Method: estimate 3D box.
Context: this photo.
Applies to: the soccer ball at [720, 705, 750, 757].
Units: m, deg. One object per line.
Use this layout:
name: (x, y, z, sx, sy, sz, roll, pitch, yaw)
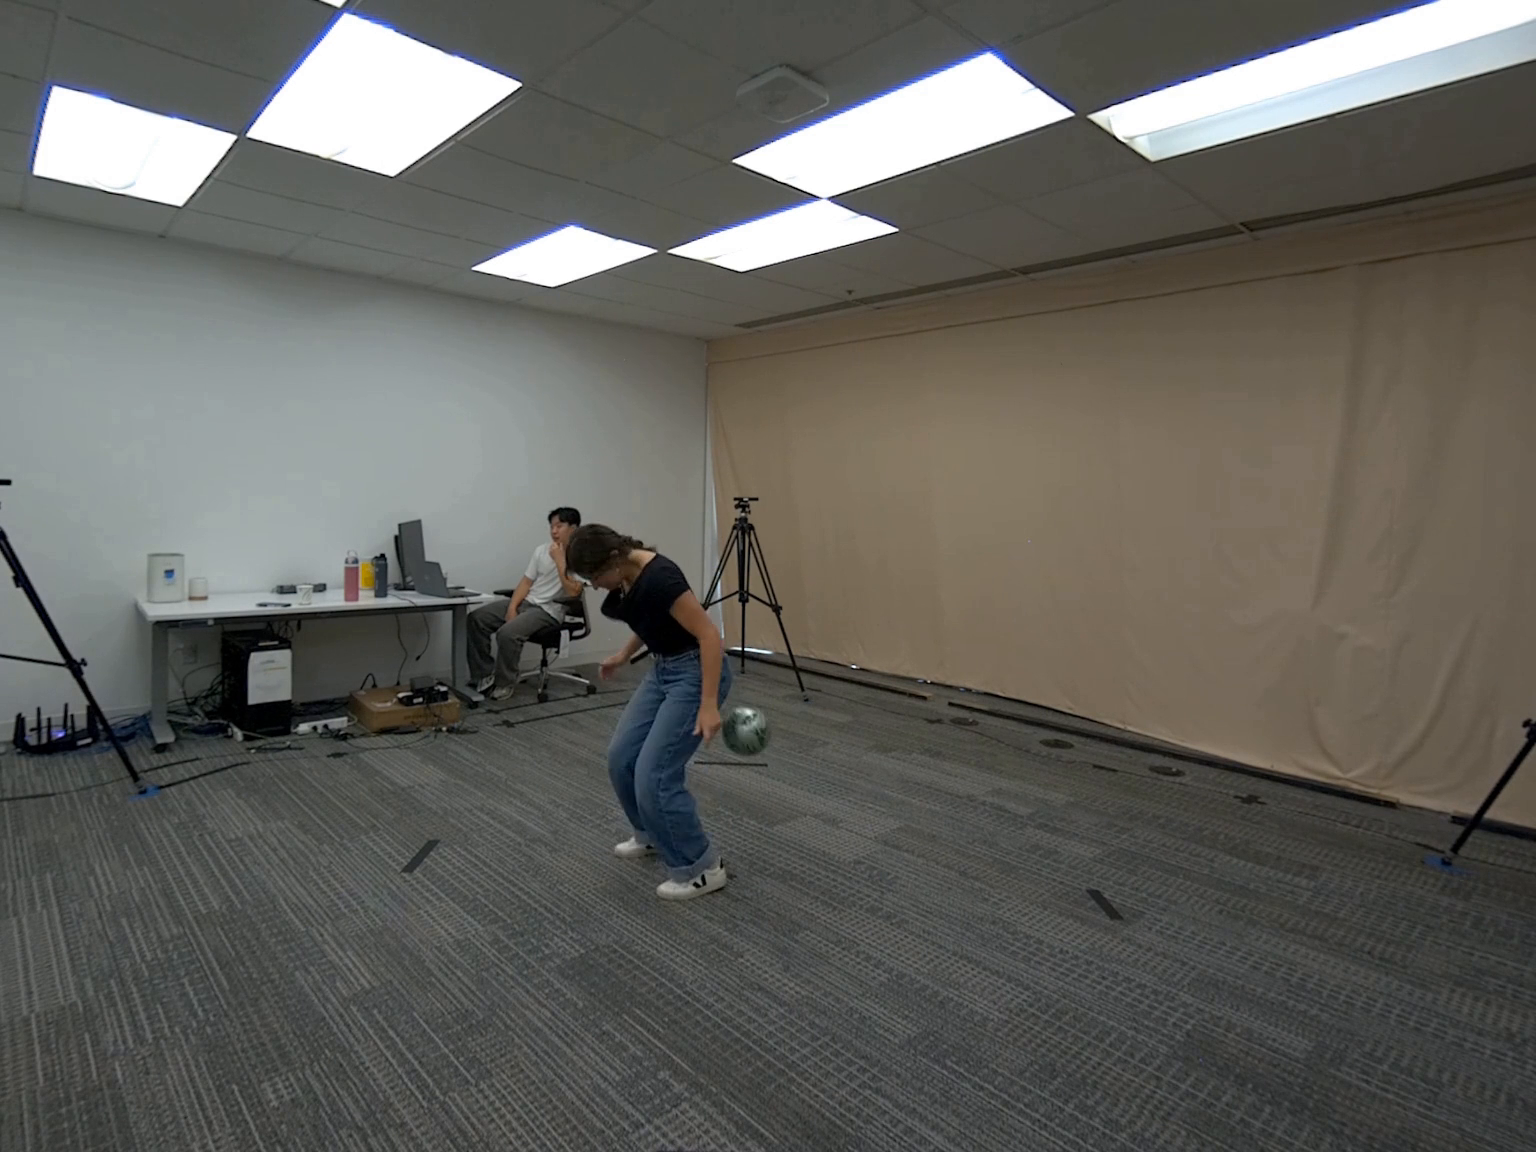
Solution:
soccer ball: (-0.195, 0.631, 3.144, 0.187, 0.187, 0.188, 1, 4, -1)
